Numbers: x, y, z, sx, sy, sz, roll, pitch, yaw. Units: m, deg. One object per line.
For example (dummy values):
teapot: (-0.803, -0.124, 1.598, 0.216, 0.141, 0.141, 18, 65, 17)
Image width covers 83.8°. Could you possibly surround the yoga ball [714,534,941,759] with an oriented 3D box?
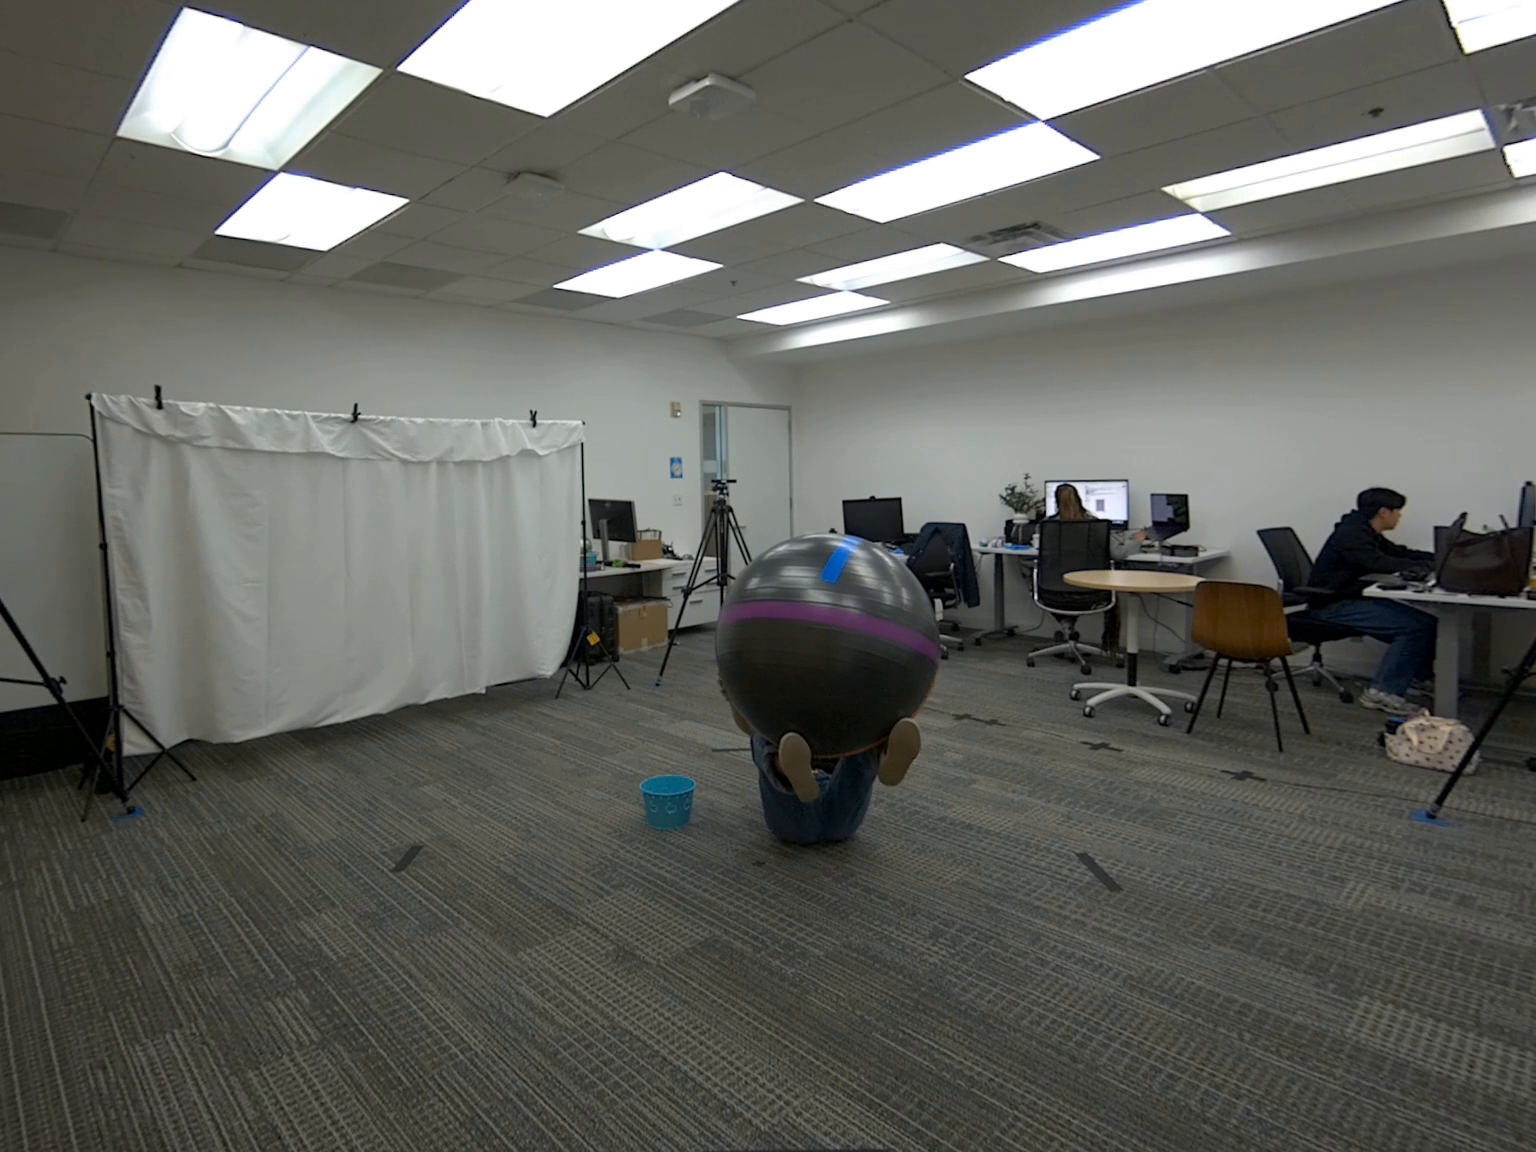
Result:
yoga ball: (0.203, 0.235, 2.936, 0.757, 0.755, 0.762, -1, 5, -2)
